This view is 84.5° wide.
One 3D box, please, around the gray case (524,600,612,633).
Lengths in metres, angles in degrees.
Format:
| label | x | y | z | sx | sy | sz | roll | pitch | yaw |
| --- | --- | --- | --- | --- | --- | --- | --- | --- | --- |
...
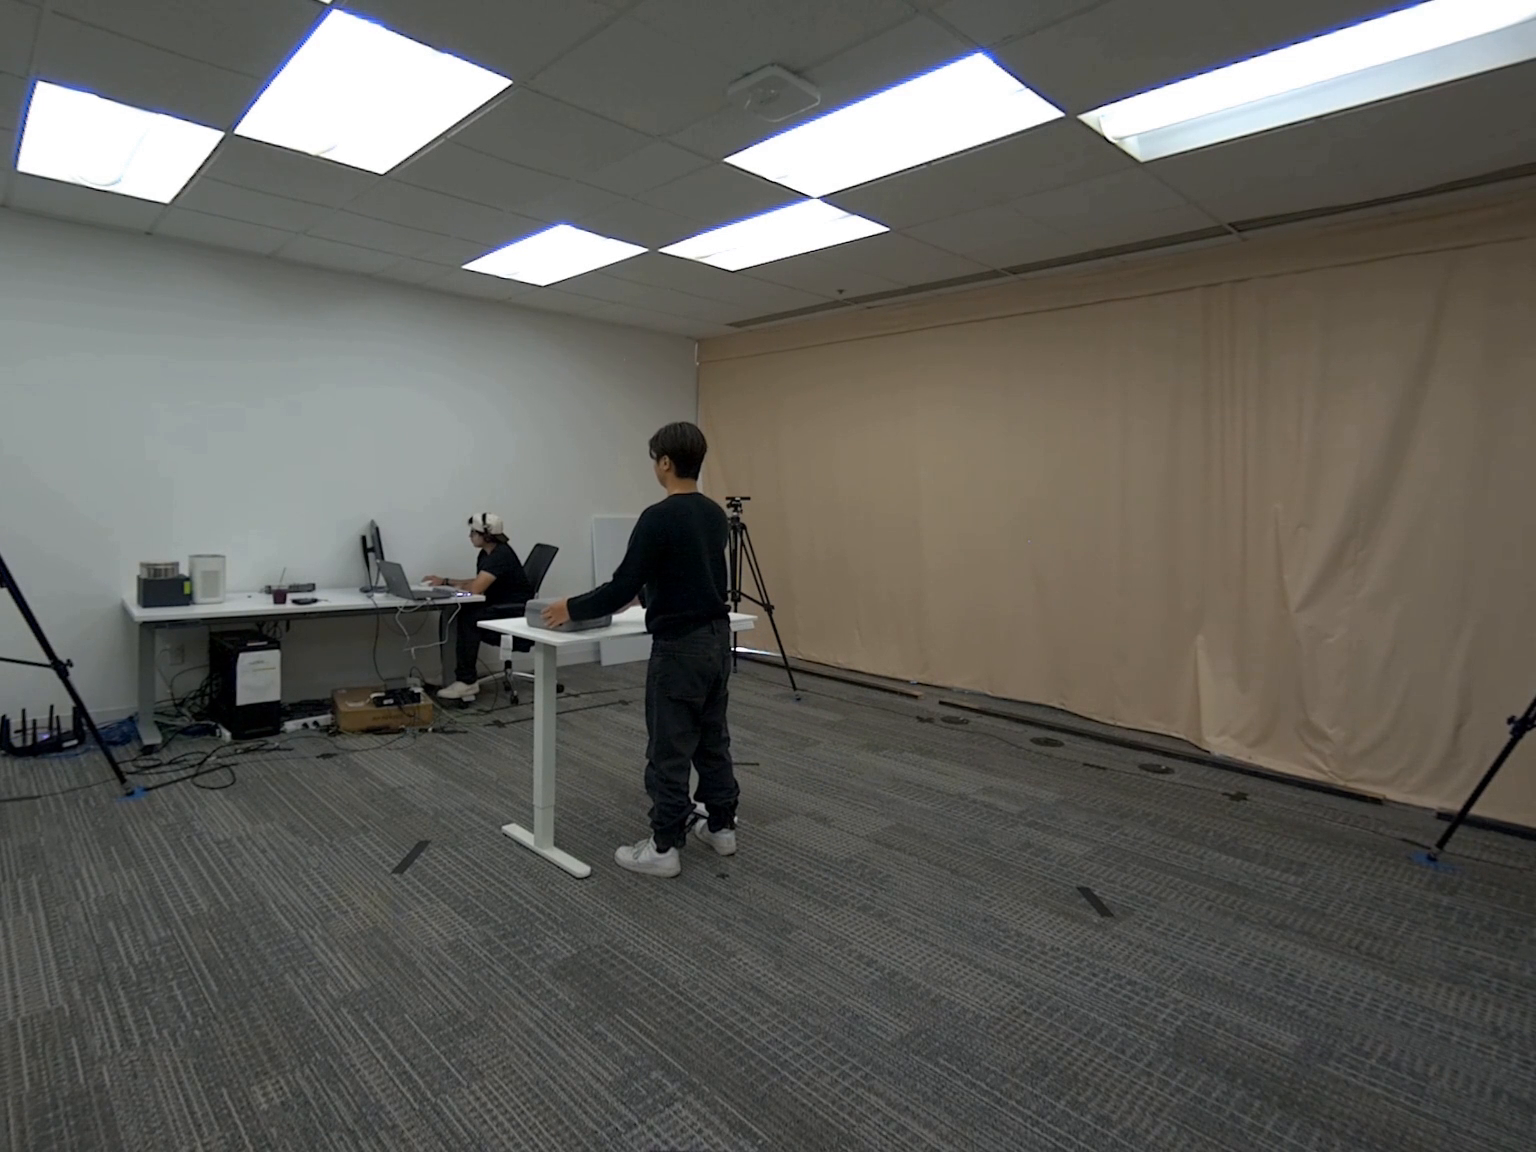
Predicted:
| label | x | y | z | sx | sy | sz | roll | pitch | yaw |
| --- | --- | --- | --- | --- | --- | --- | --- | --- | --- |
| gray case | -0.774 | 0.144 | 3.281 | 0.267 | 0.104 | 0.251 | 5 | 6 | 39 |
